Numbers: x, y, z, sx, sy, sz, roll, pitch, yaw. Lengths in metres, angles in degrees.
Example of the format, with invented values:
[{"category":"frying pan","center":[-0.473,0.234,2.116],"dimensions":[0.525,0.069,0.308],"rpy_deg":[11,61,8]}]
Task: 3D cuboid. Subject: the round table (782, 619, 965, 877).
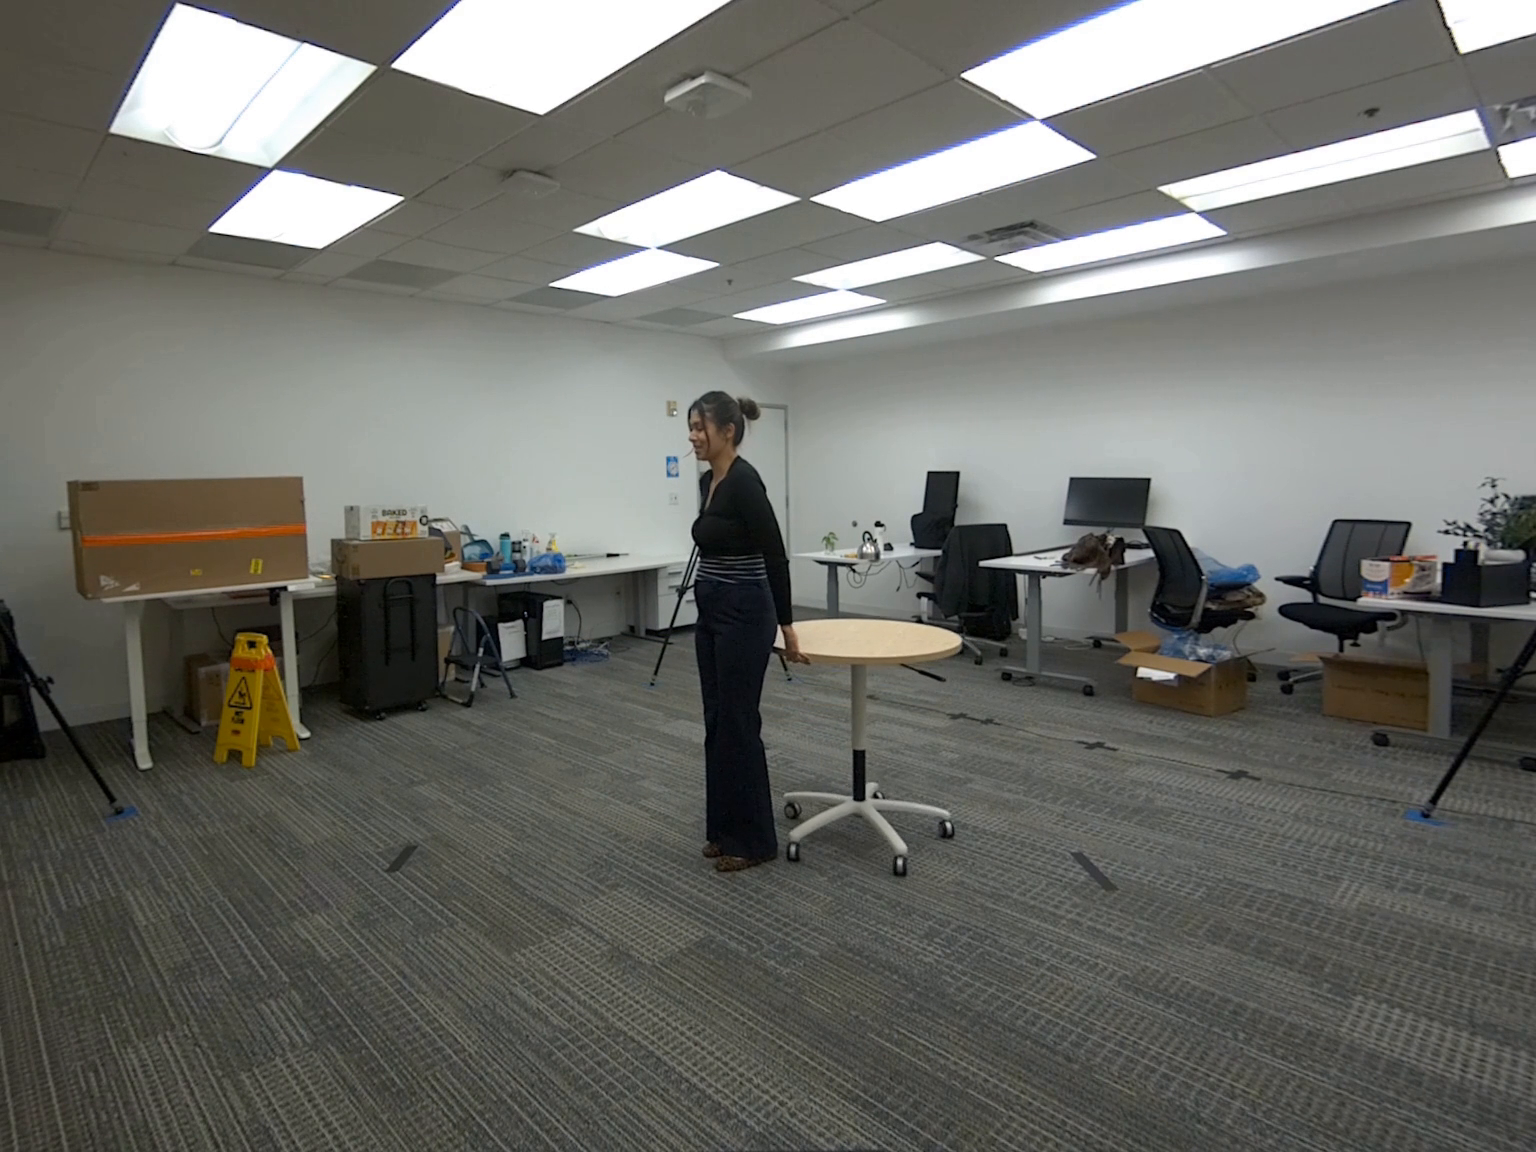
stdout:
[{"category":"round table","center":[0.351,0.623,3.313],"dimensions":[0.763,0.791,0.768],"rpy_deg":[-1,5,-2]}]
